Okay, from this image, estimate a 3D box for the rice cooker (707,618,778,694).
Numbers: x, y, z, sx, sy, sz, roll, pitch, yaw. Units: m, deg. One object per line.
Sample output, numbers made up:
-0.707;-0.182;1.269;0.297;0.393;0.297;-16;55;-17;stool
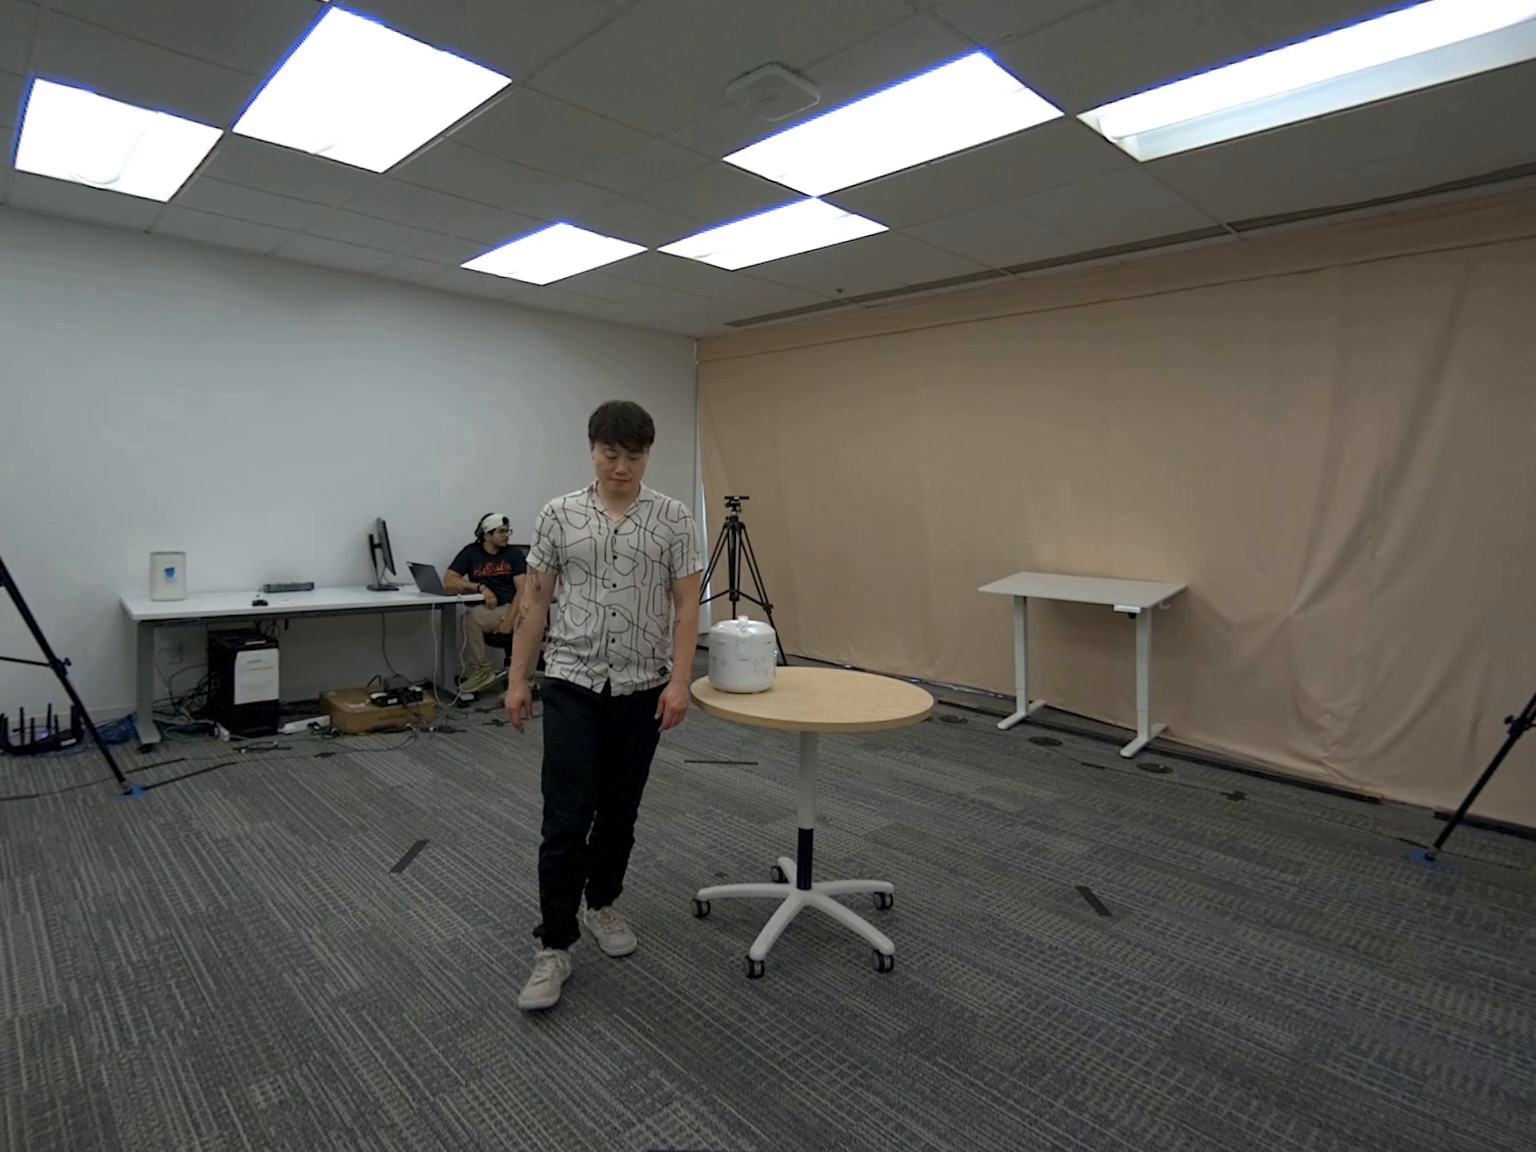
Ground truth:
-0.084;0.242;2.688;0.217;0.232;0.221;1;3;-2;rice cooker
